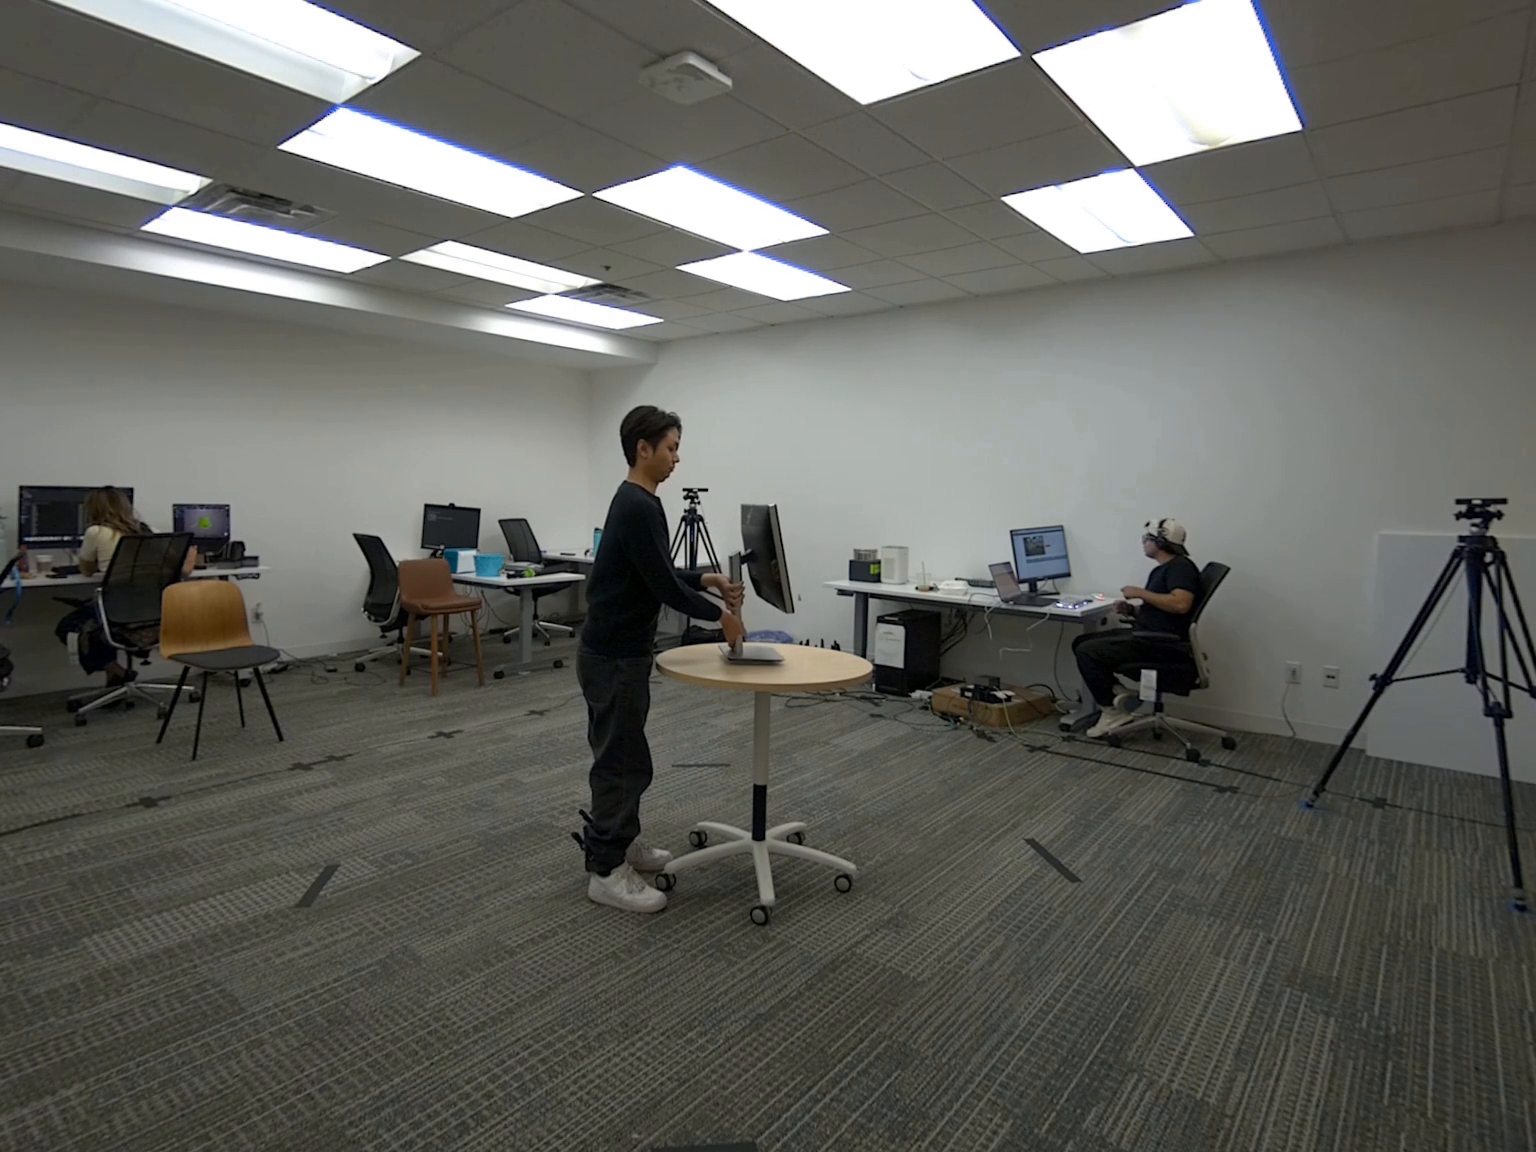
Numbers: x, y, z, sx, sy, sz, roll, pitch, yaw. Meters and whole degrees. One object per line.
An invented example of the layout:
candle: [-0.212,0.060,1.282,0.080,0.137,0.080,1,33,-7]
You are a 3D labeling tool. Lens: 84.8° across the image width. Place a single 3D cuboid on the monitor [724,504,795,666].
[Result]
monitor: [-0.067,0.027,3.011,0.185,0.520,0.548,1,6,-12]
